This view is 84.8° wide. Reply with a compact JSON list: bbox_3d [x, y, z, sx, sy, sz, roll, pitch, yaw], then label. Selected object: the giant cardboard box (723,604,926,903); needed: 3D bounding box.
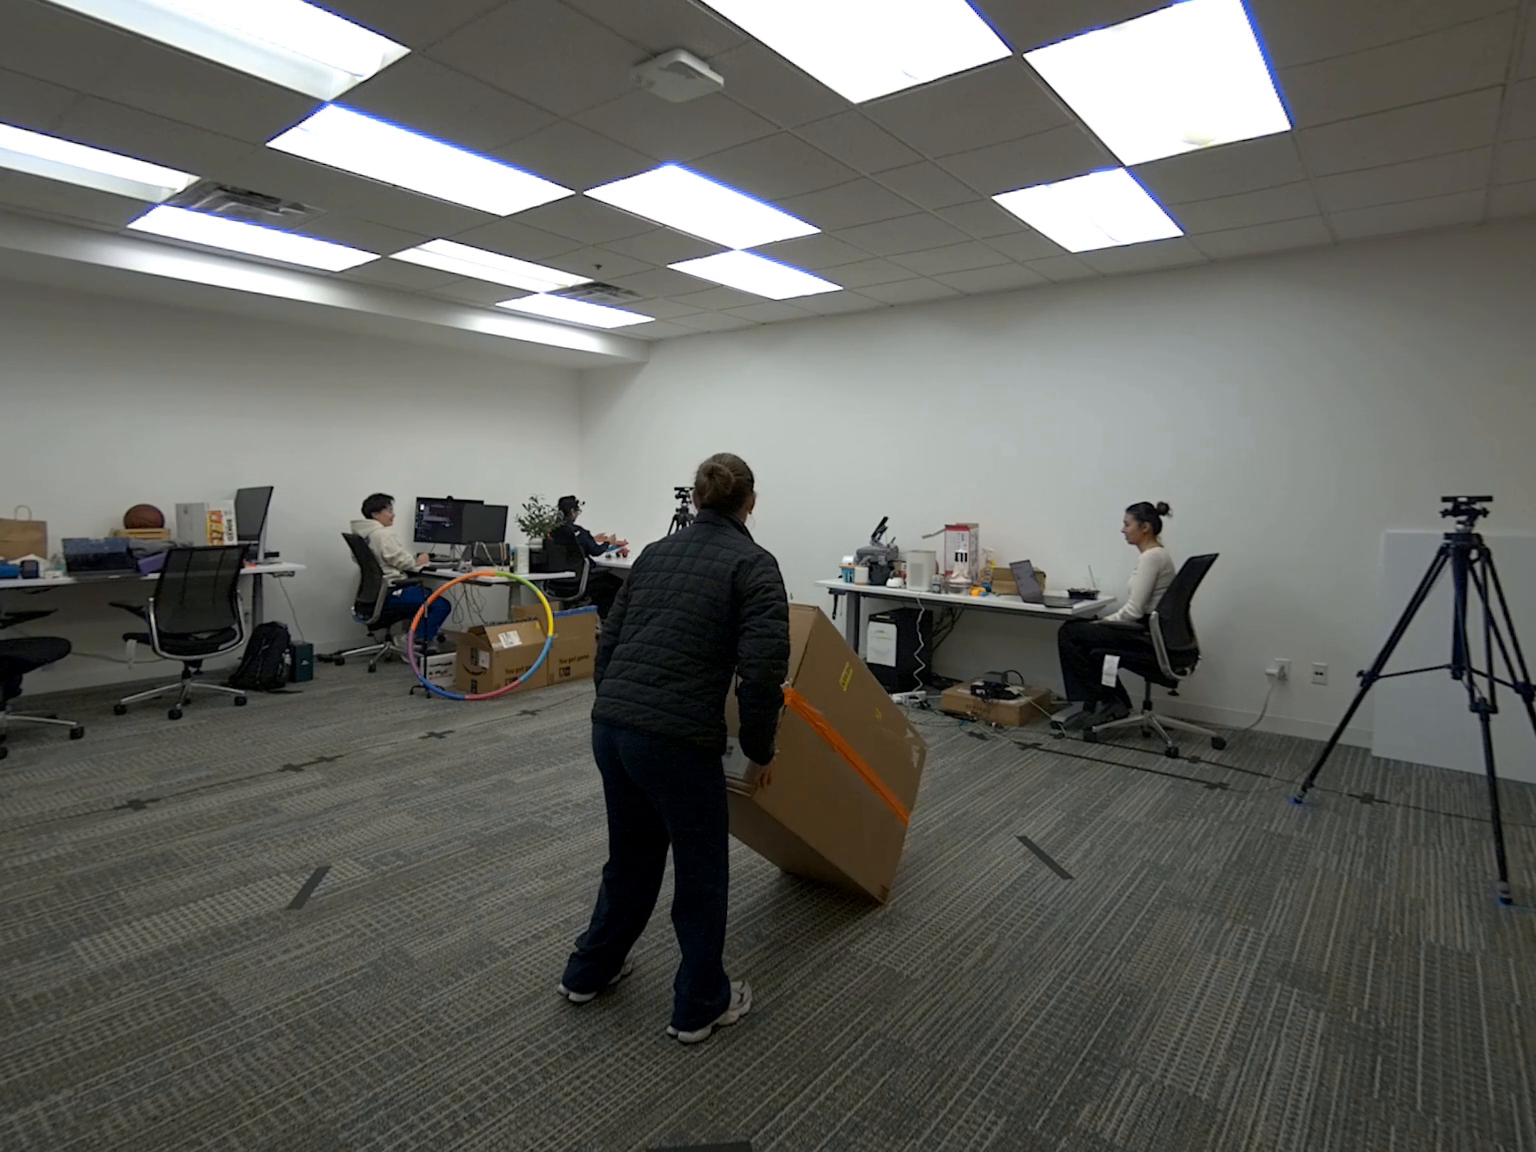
[{"bbox_3d":[0.111,0.574,2.778,0.461,0.590,0.984,5,-30,35],"label":"giant cardboard box"}]
